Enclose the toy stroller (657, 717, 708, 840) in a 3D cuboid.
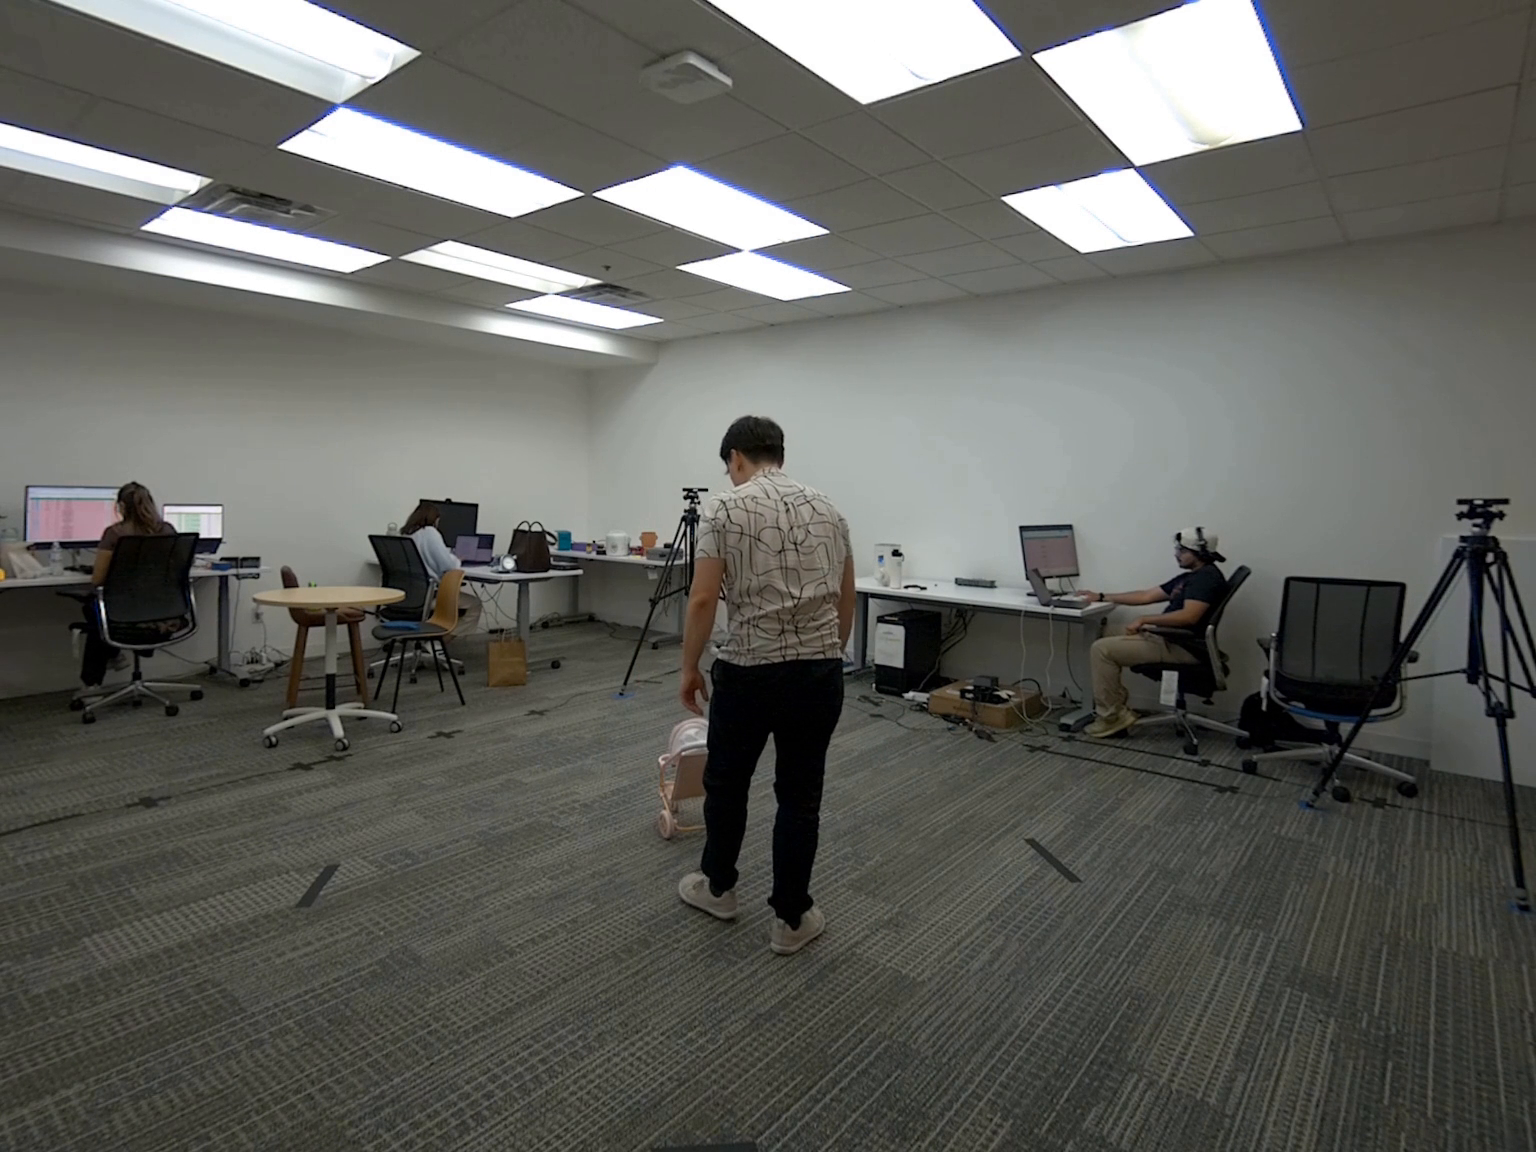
[{"bbox_3d":[-0.328,0.807,3.478,0.276,0.526,0.354,0,22,-20],"label":"toy stroller"}]
